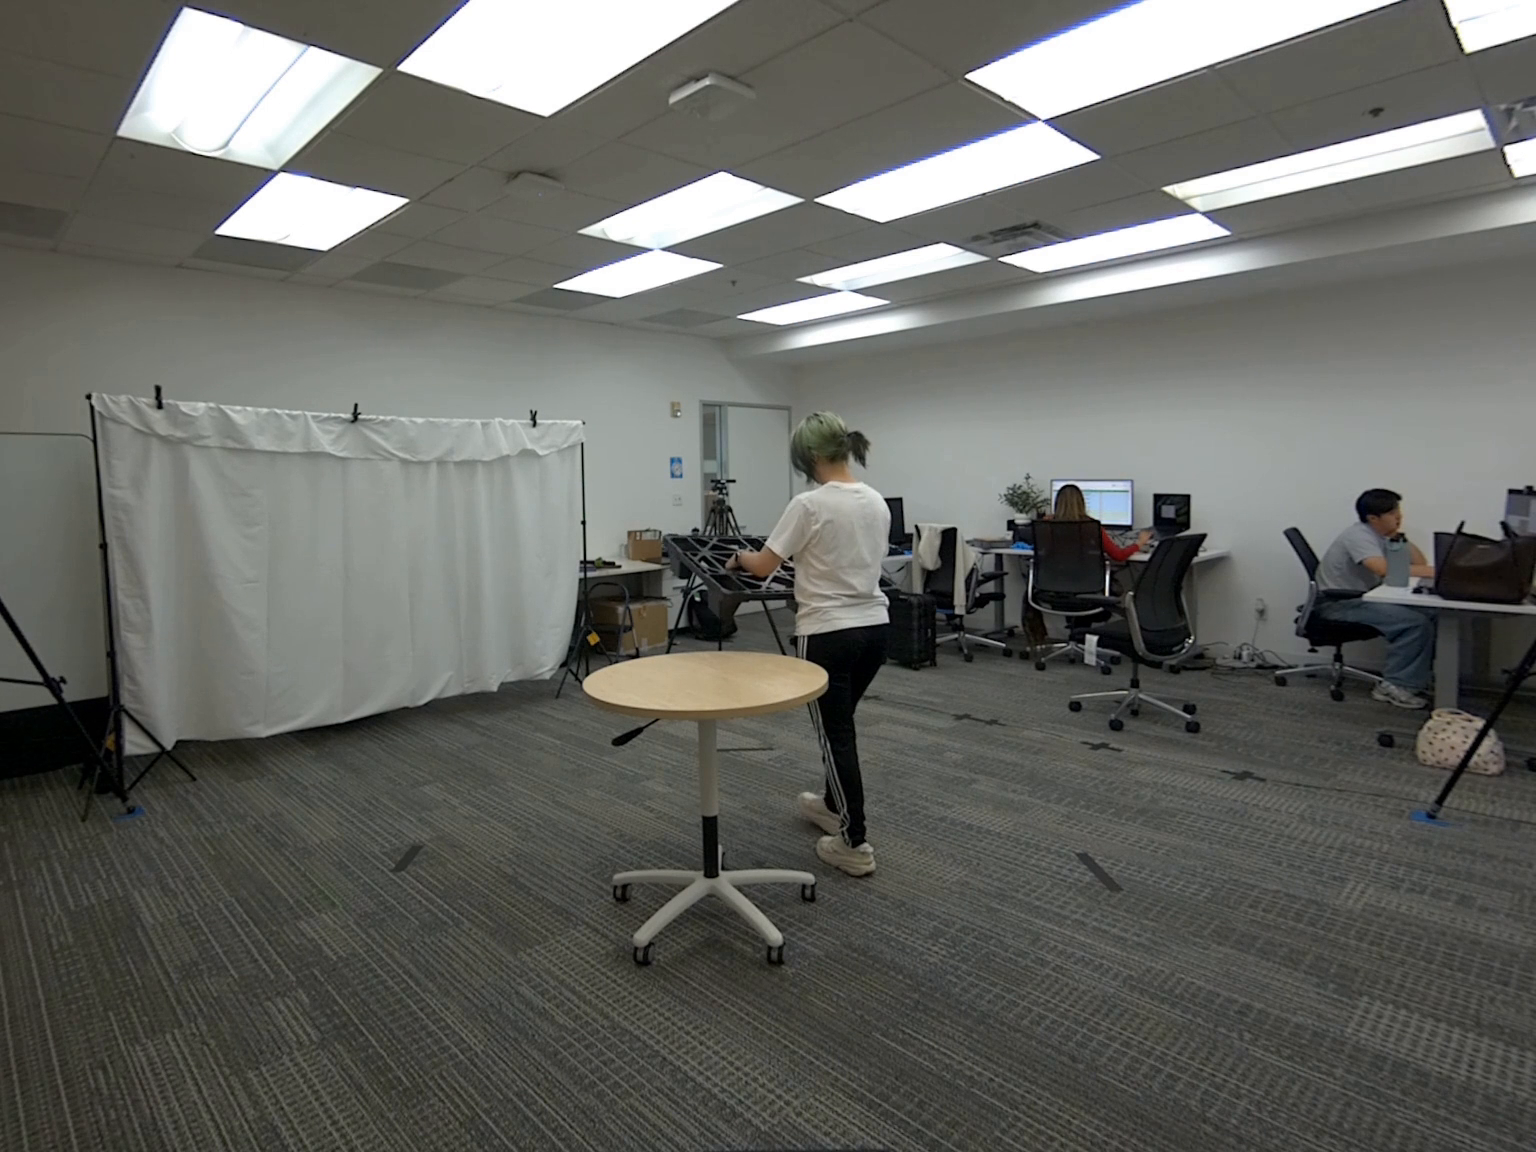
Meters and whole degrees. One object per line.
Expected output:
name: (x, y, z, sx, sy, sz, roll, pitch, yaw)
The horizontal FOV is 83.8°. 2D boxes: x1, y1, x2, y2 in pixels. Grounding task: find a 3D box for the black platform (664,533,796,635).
black platform: (0.031, -0.001, 3.455, 0.786, 0.141, 0.628, 0, 21, -29)
